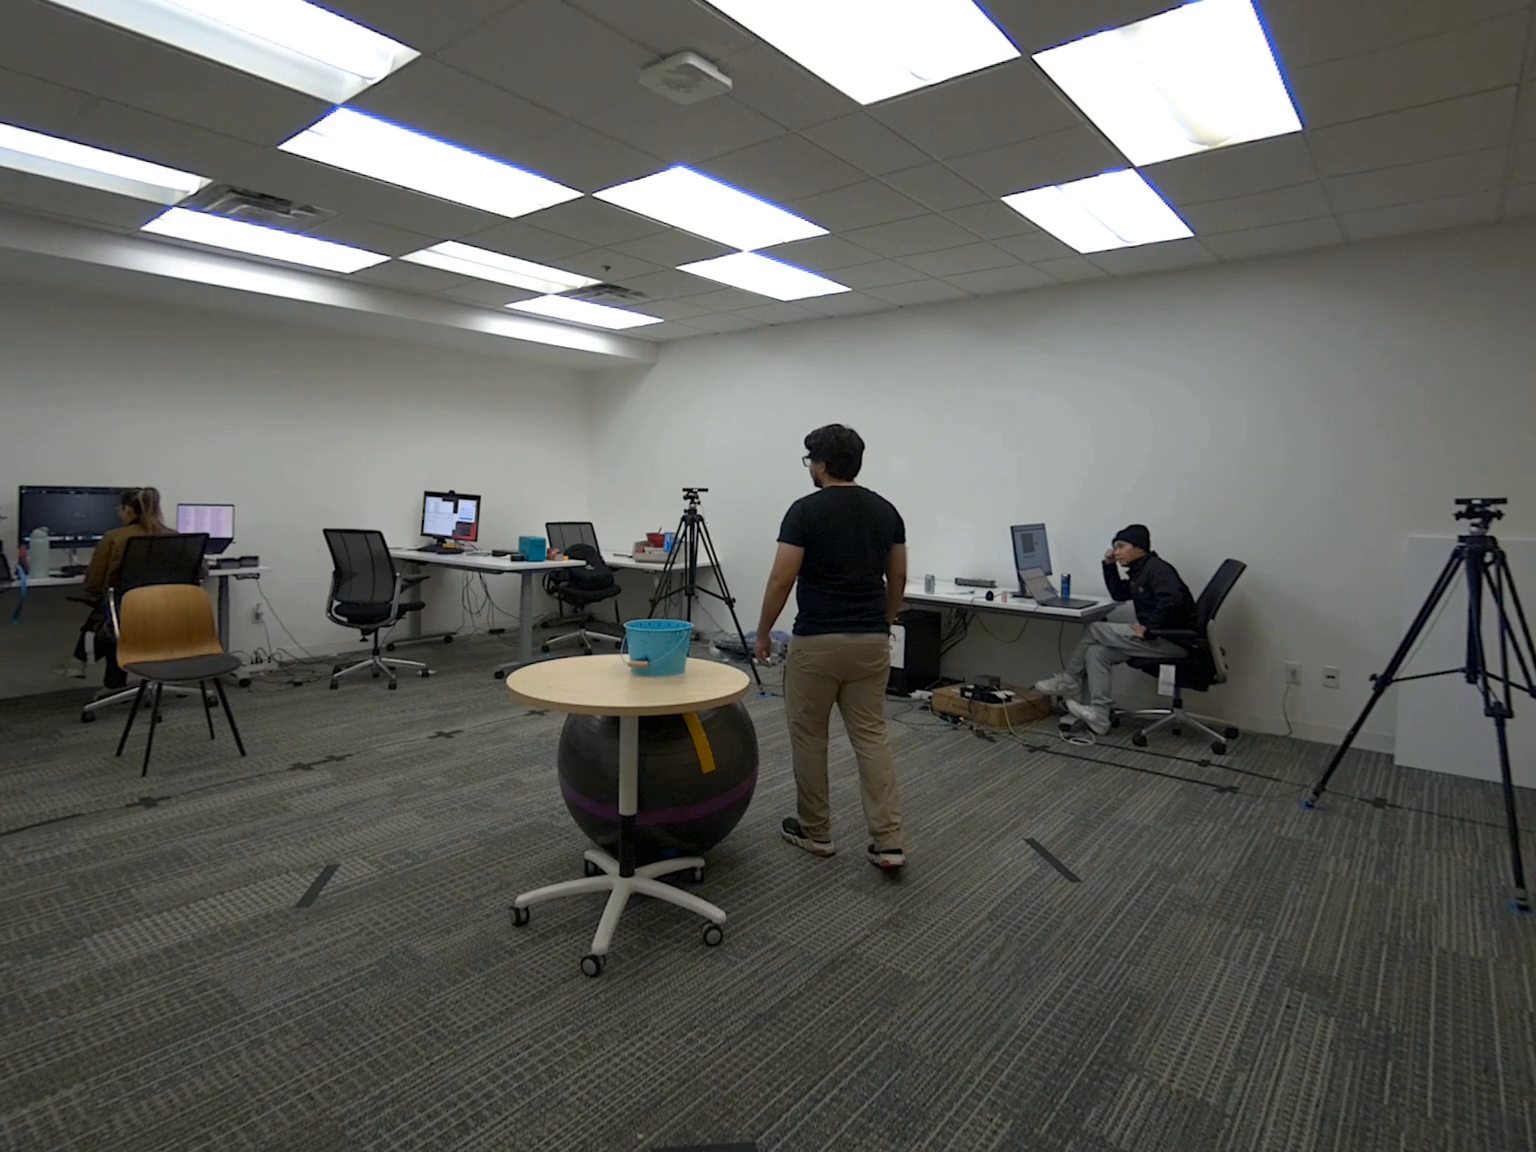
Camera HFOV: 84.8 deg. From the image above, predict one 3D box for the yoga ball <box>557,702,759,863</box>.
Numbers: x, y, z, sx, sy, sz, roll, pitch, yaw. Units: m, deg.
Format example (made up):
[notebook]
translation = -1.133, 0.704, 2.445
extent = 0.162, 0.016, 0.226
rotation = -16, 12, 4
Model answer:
[yoga ball]
translation = -0.418, 0.690, 3.215
extent = 0.757, 0.755, 0.762
rotation = 1, 4, -2
